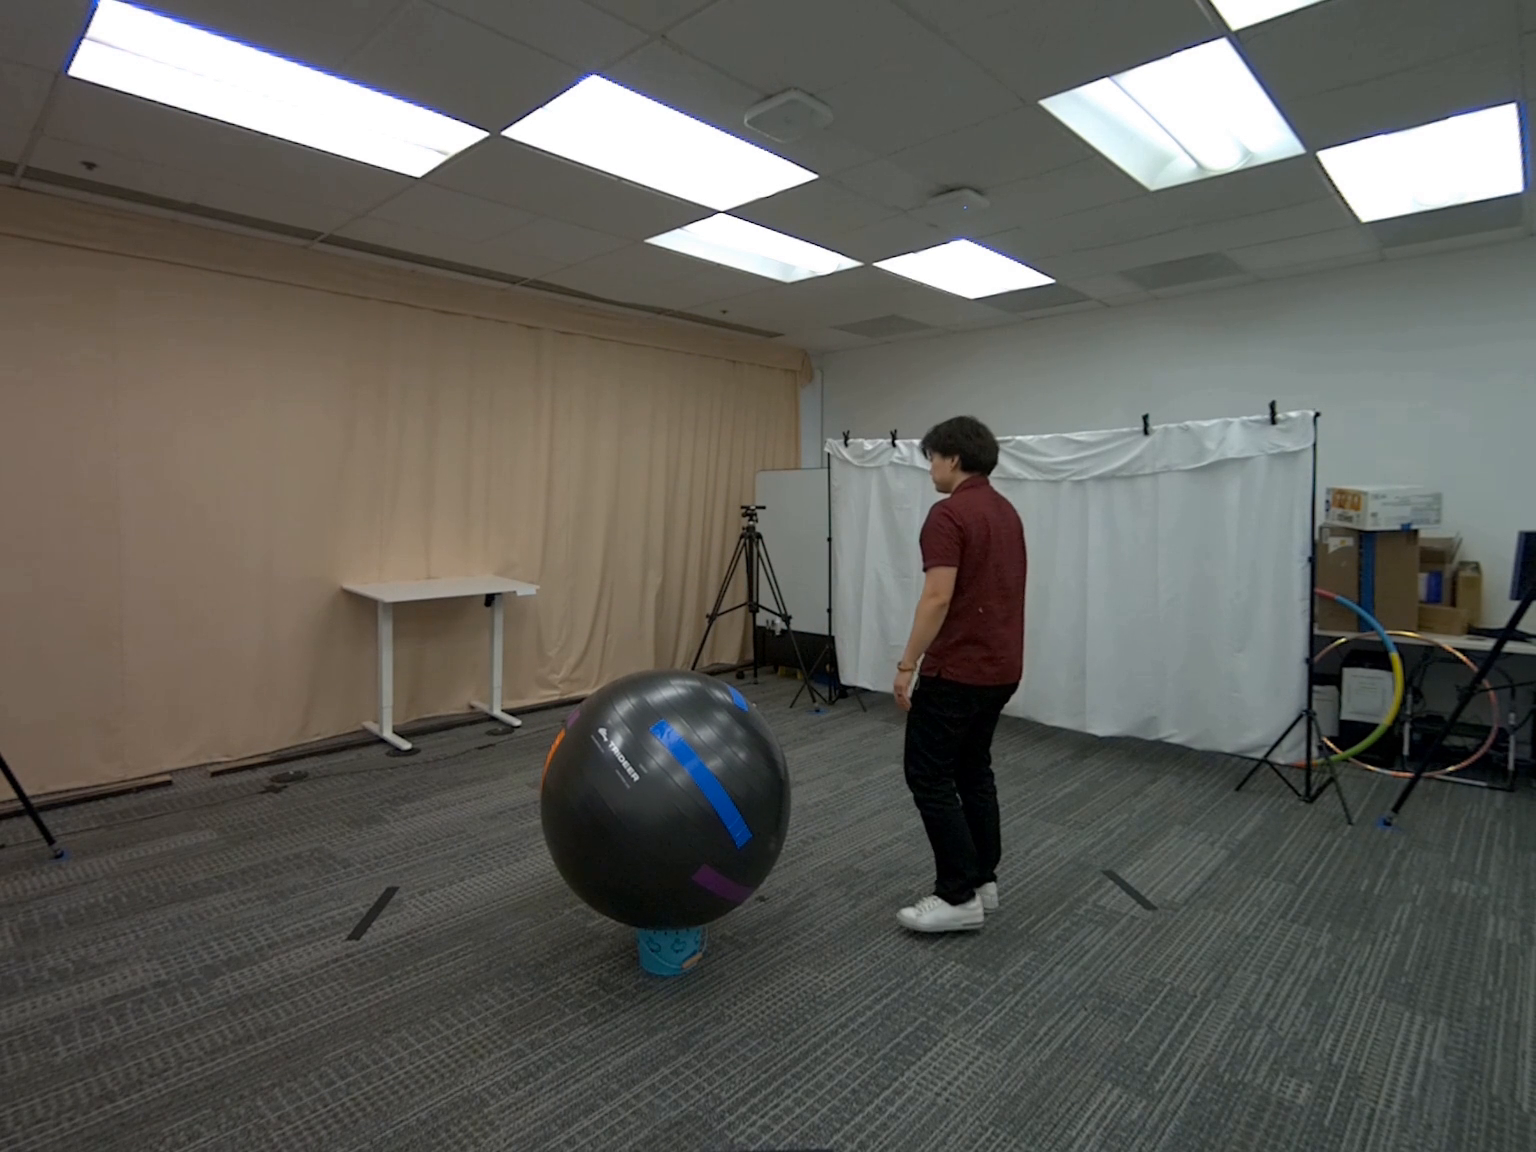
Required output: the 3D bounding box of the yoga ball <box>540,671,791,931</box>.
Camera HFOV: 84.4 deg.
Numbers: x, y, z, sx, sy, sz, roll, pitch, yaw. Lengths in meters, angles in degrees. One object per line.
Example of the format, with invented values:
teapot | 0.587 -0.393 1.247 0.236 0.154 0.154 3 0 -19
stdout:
yoga ball | -0.322 0.674 2.557 0.757 0.756 0.760 0 4 -2
